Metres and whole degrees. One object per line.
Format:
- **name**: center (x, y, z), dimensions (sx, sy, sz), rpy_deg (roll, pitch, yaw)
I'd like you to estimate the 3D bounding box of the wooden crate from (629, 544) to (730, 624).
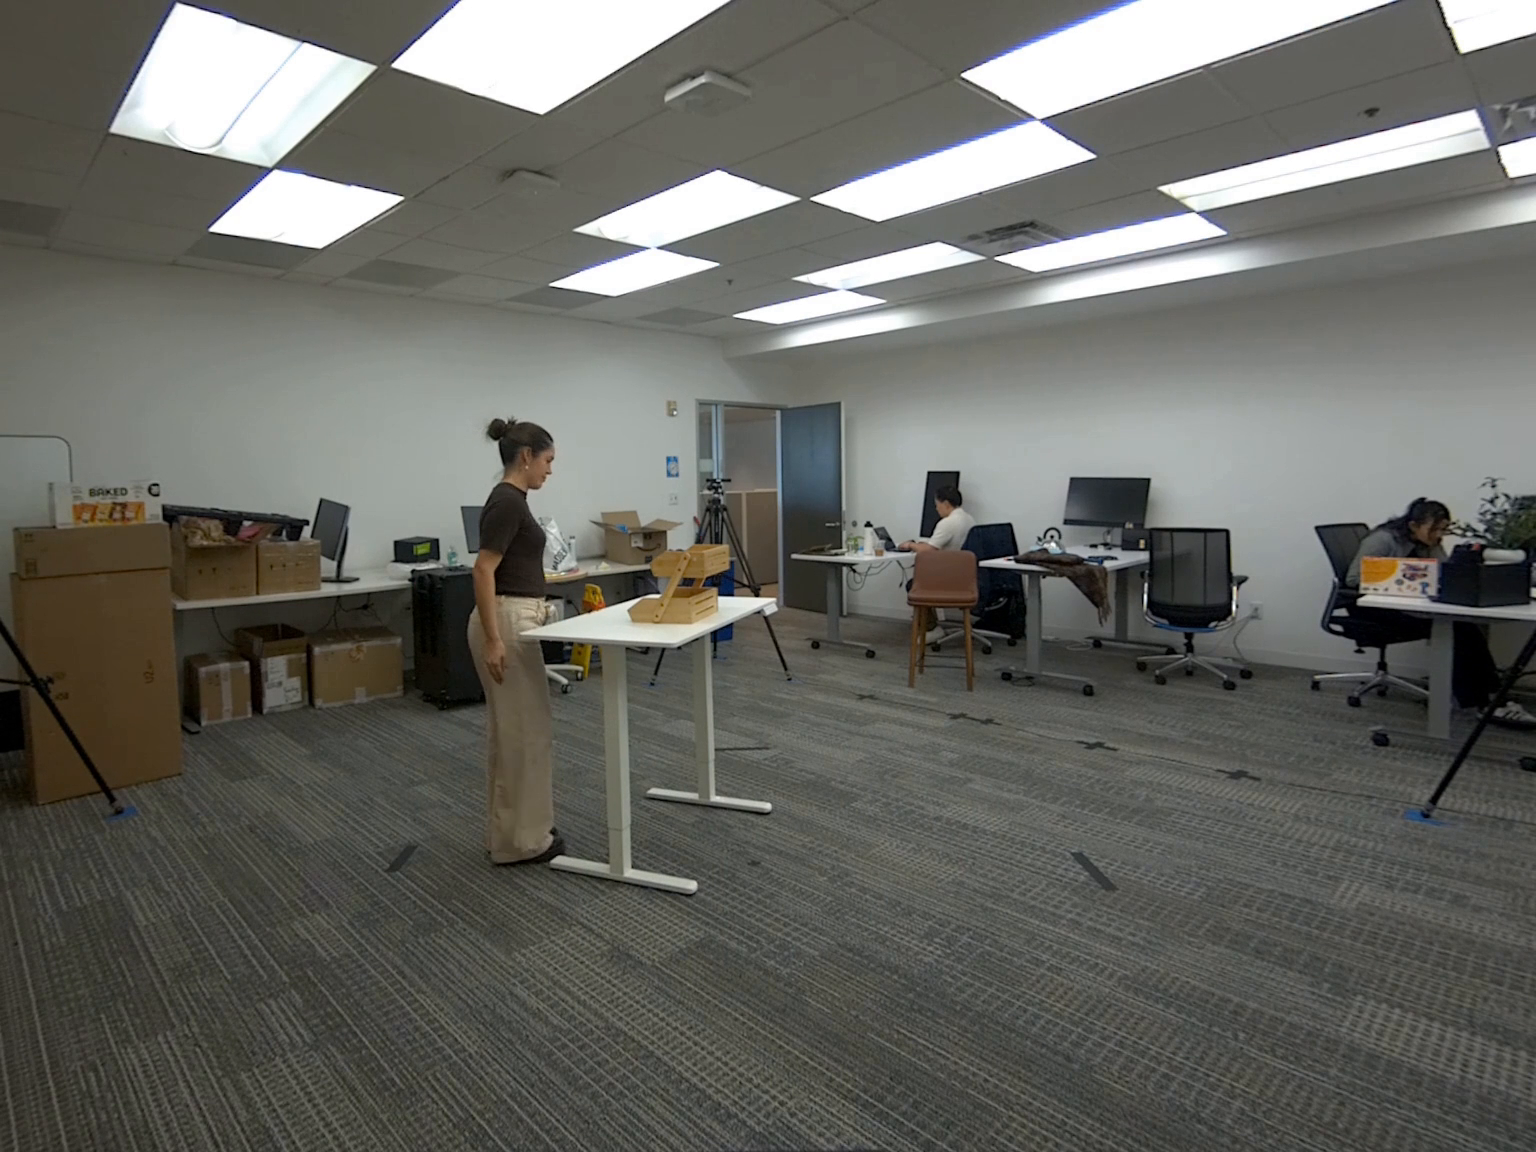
- **wooden crate**: center (-0.342, 0.023, 3.209), dimensions (0.307, 0.272, 0.321), rpy_deg (0, 6, 16)
